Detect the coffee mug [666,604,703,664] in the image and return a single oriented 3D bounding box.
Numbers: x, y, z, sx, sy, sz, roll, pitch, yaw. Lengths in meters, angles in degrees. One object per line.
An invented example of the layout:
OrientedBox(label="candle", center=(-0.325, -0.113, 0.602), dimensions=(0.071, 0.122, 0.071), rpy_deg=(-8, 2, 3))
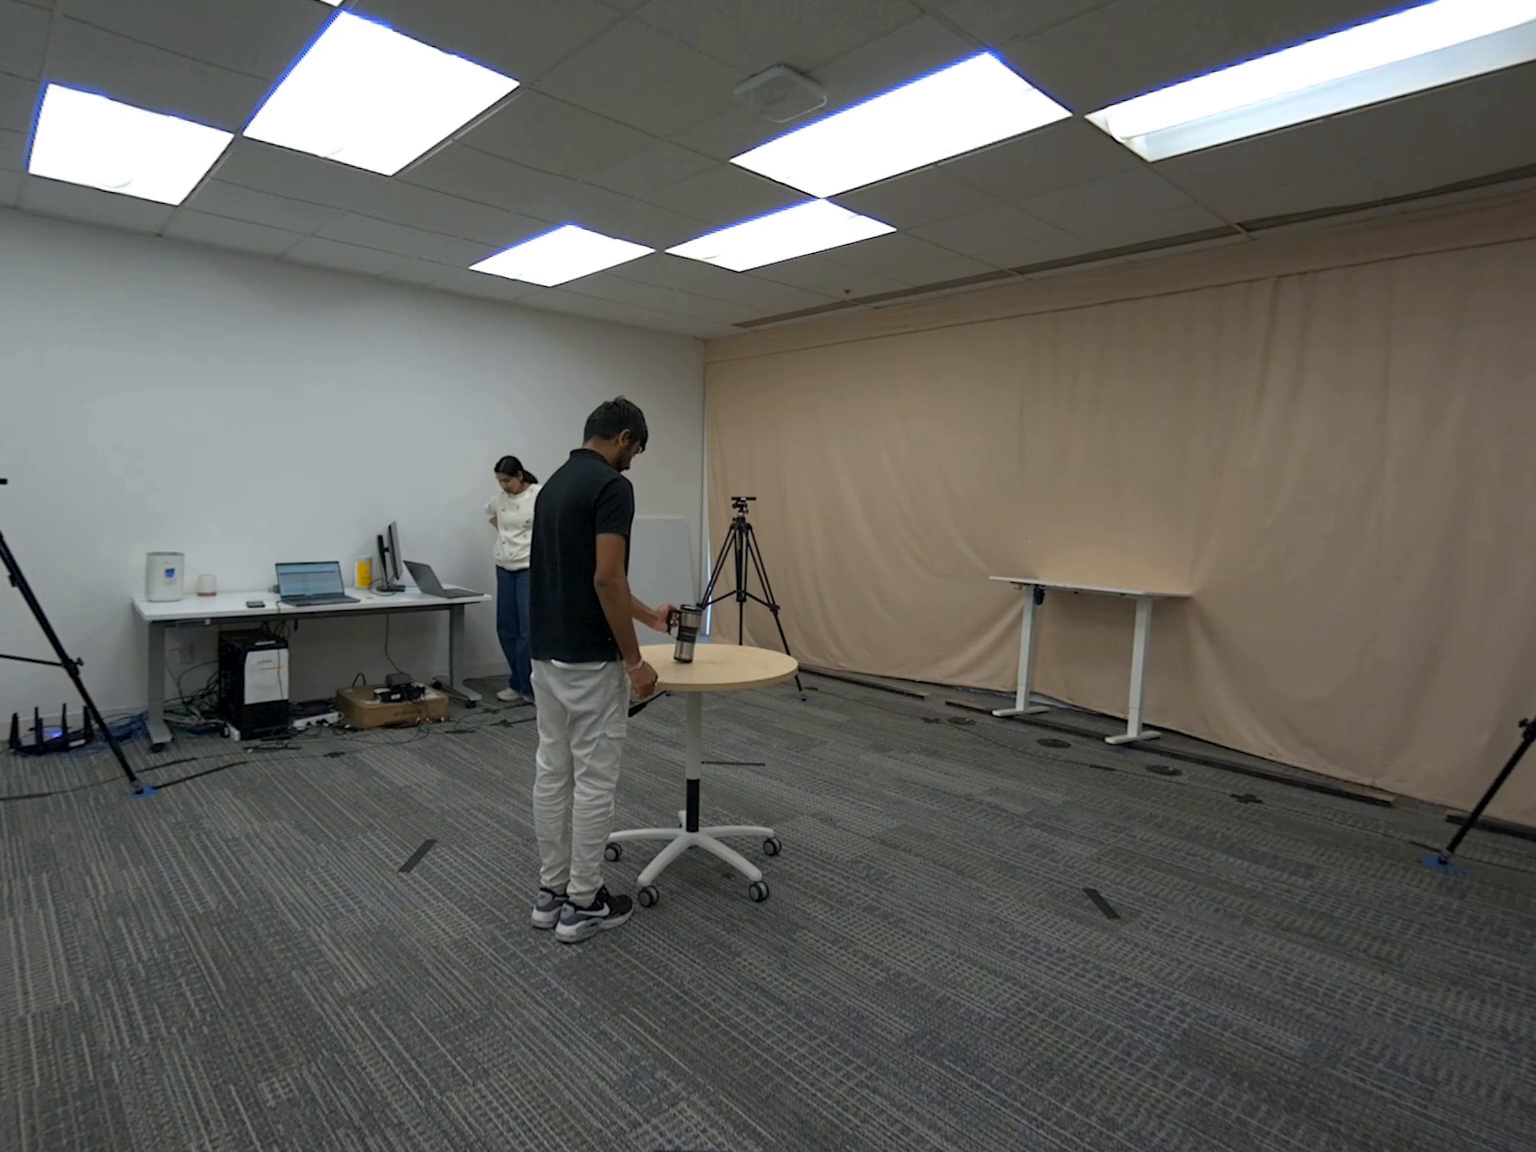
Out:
OrientedBox(label="coffee mug", center=(-0.319, 0.212, 3.130), dimensions=(0.125, 0.202, 0.086), rpy_deg=(12, 3, 29))
